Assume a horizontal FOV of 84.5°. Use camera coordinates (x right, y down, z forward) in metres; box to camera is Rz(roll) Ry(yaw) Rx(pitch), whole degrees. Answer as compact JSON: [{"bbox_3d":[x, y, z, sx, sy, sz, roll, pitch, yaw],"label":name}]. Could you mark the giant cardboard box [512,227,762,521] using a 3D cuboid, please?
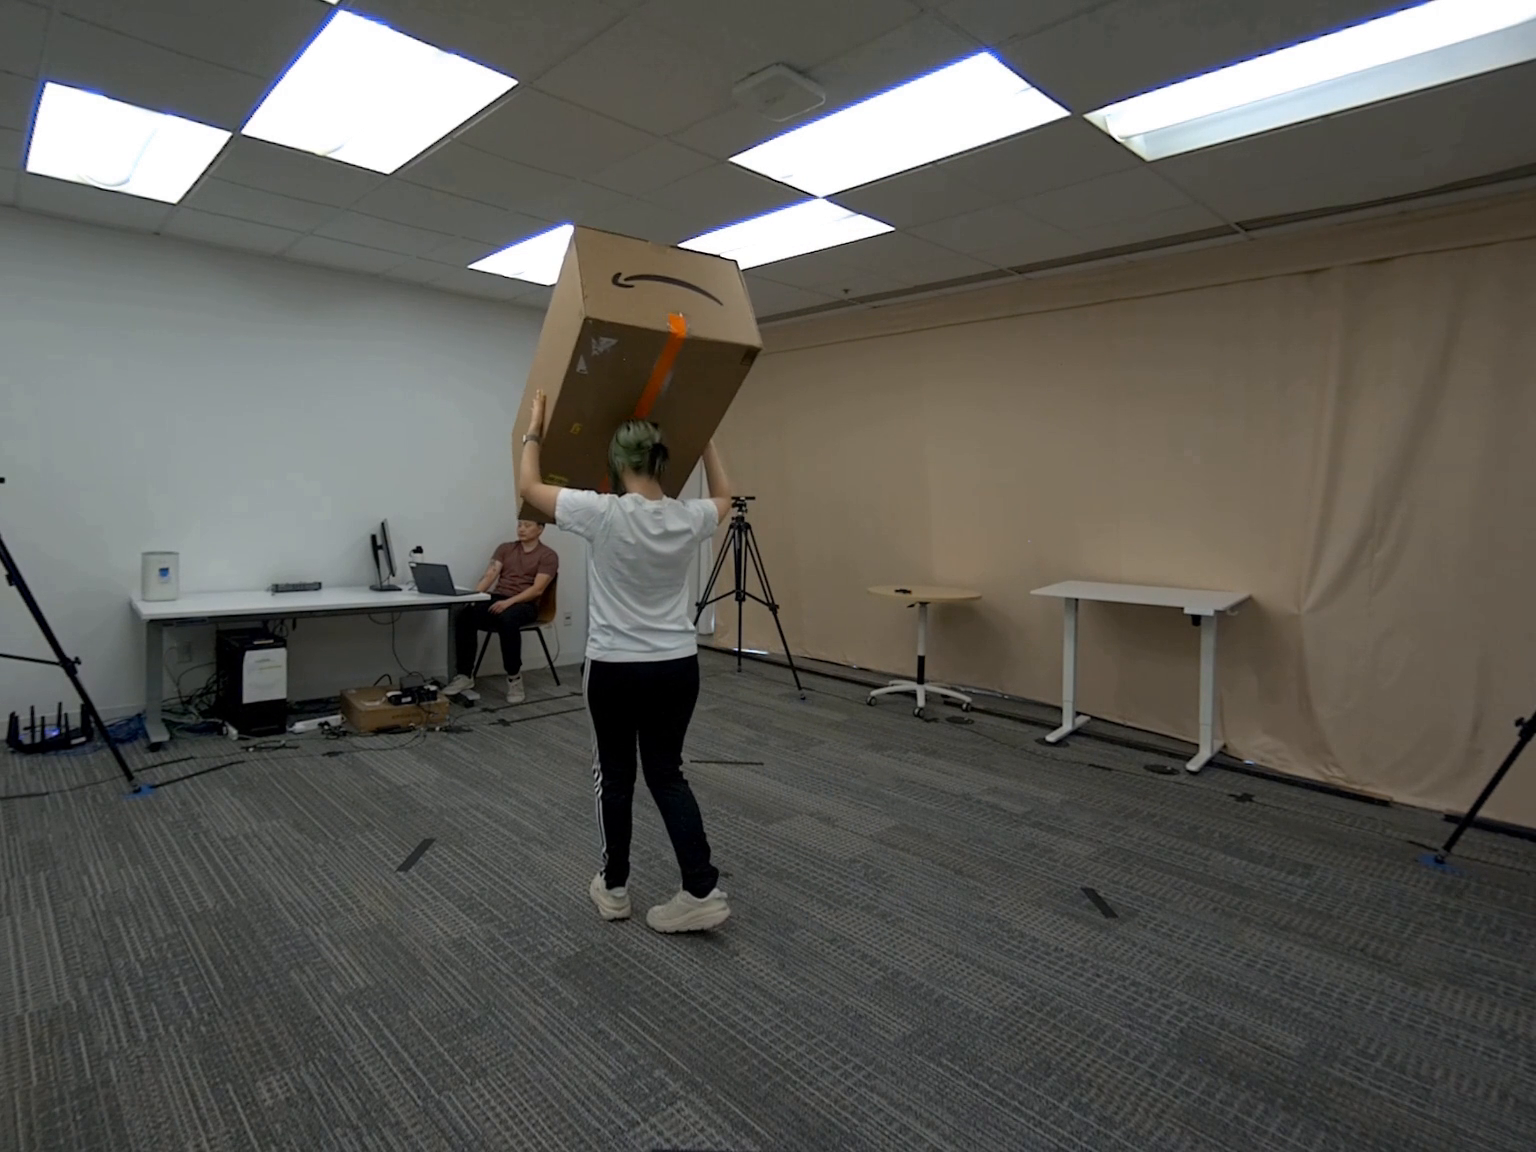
[{"bbox_3d":[-0.524,-0.632,3.010,0.572,0.457,1.022,3,-34,-27],"label":"giant cardboard box"}]
